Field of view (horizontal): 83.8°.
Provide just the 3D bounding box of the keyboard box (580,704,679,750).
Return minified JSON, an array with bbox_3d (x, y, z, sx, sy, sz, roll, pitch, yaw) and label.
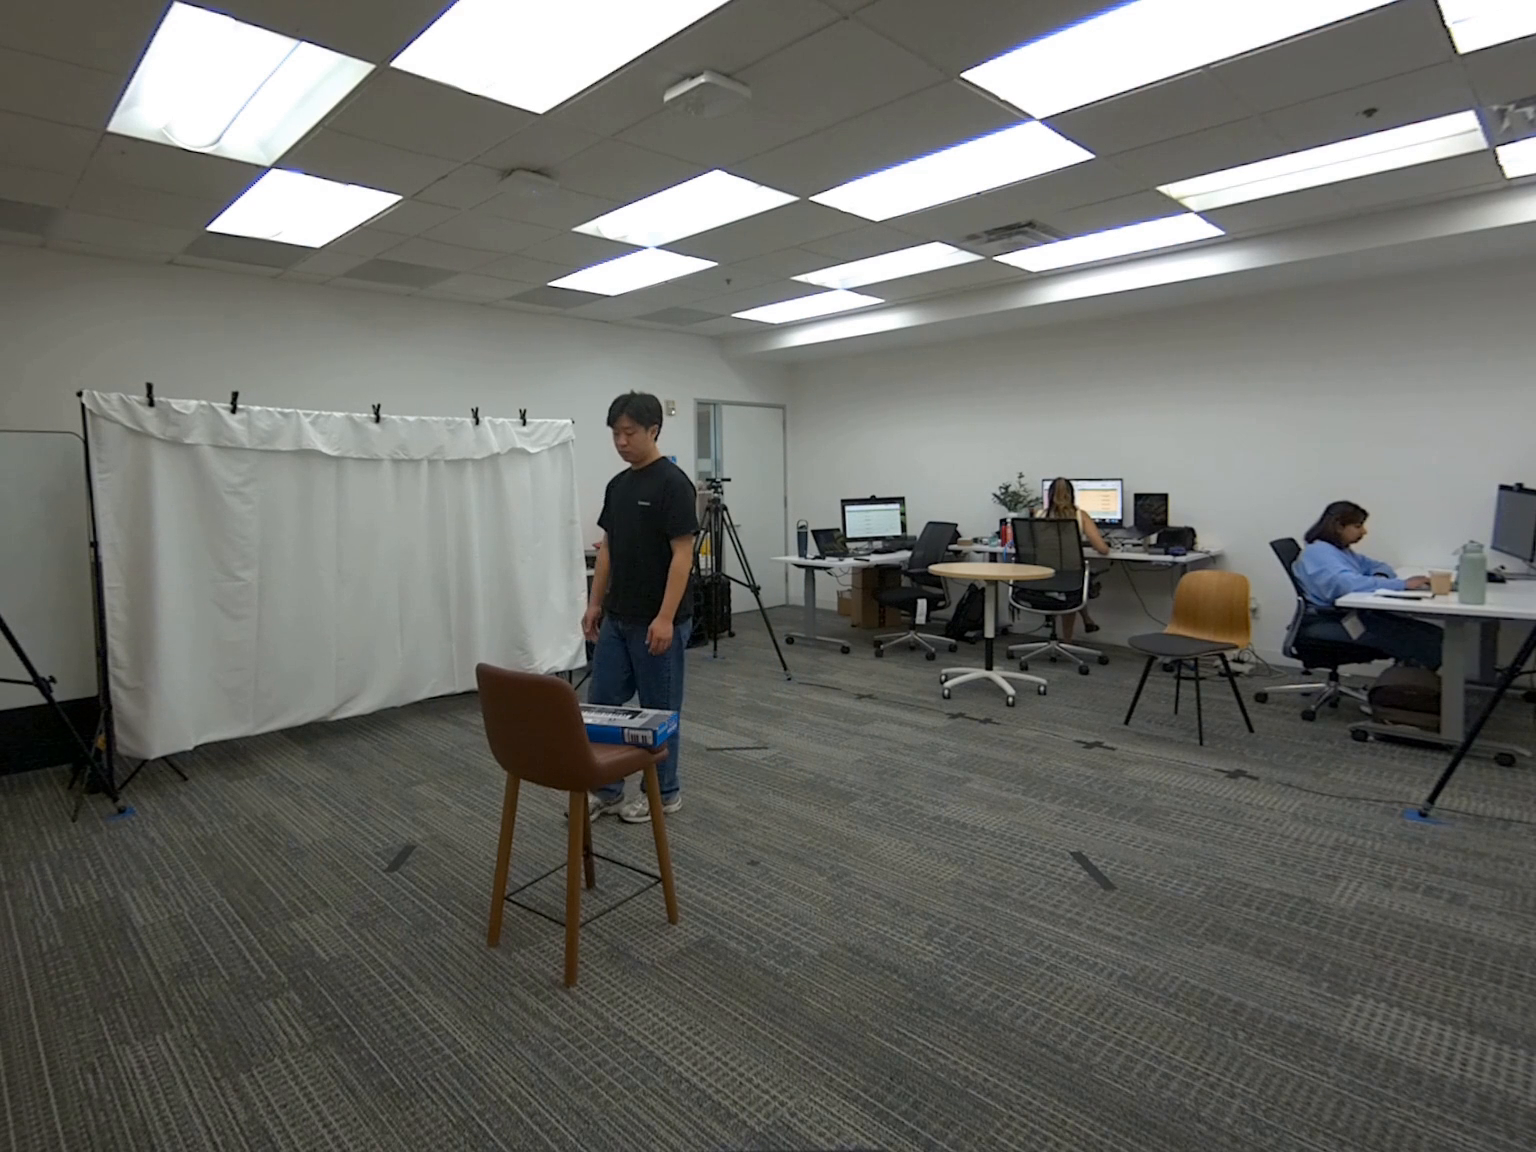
[{"bbox_3d":[-0.514,0.459,2.662,0.445,0.059,0.174,2,9,19],"label":"keyboard box"}]
